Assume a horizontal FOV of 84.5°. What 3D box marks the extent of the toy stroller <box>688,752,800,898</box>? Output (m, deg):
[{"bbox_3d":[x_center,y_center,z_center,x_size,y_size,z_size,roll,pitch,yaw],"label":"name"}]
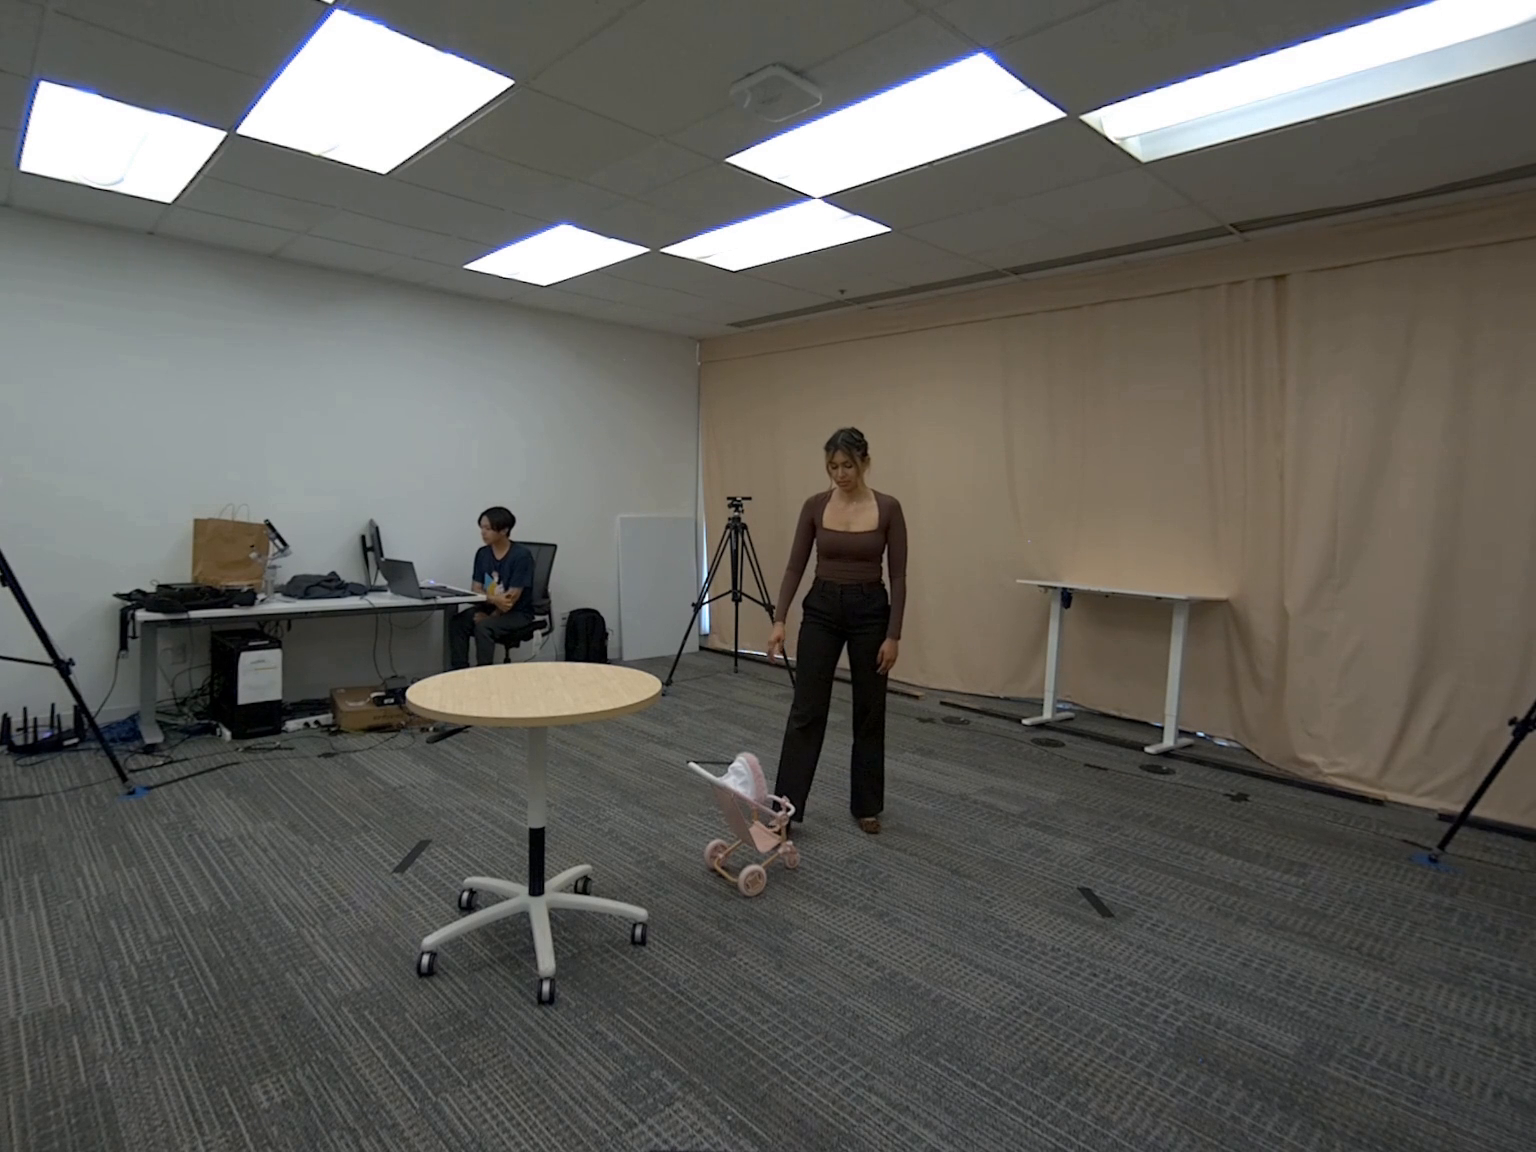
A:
[{"bbox_3d":[-0.070,0.883,3.075,0.337,0.530,0.287,-17,11,-26],"label":"toy stroller"}]
